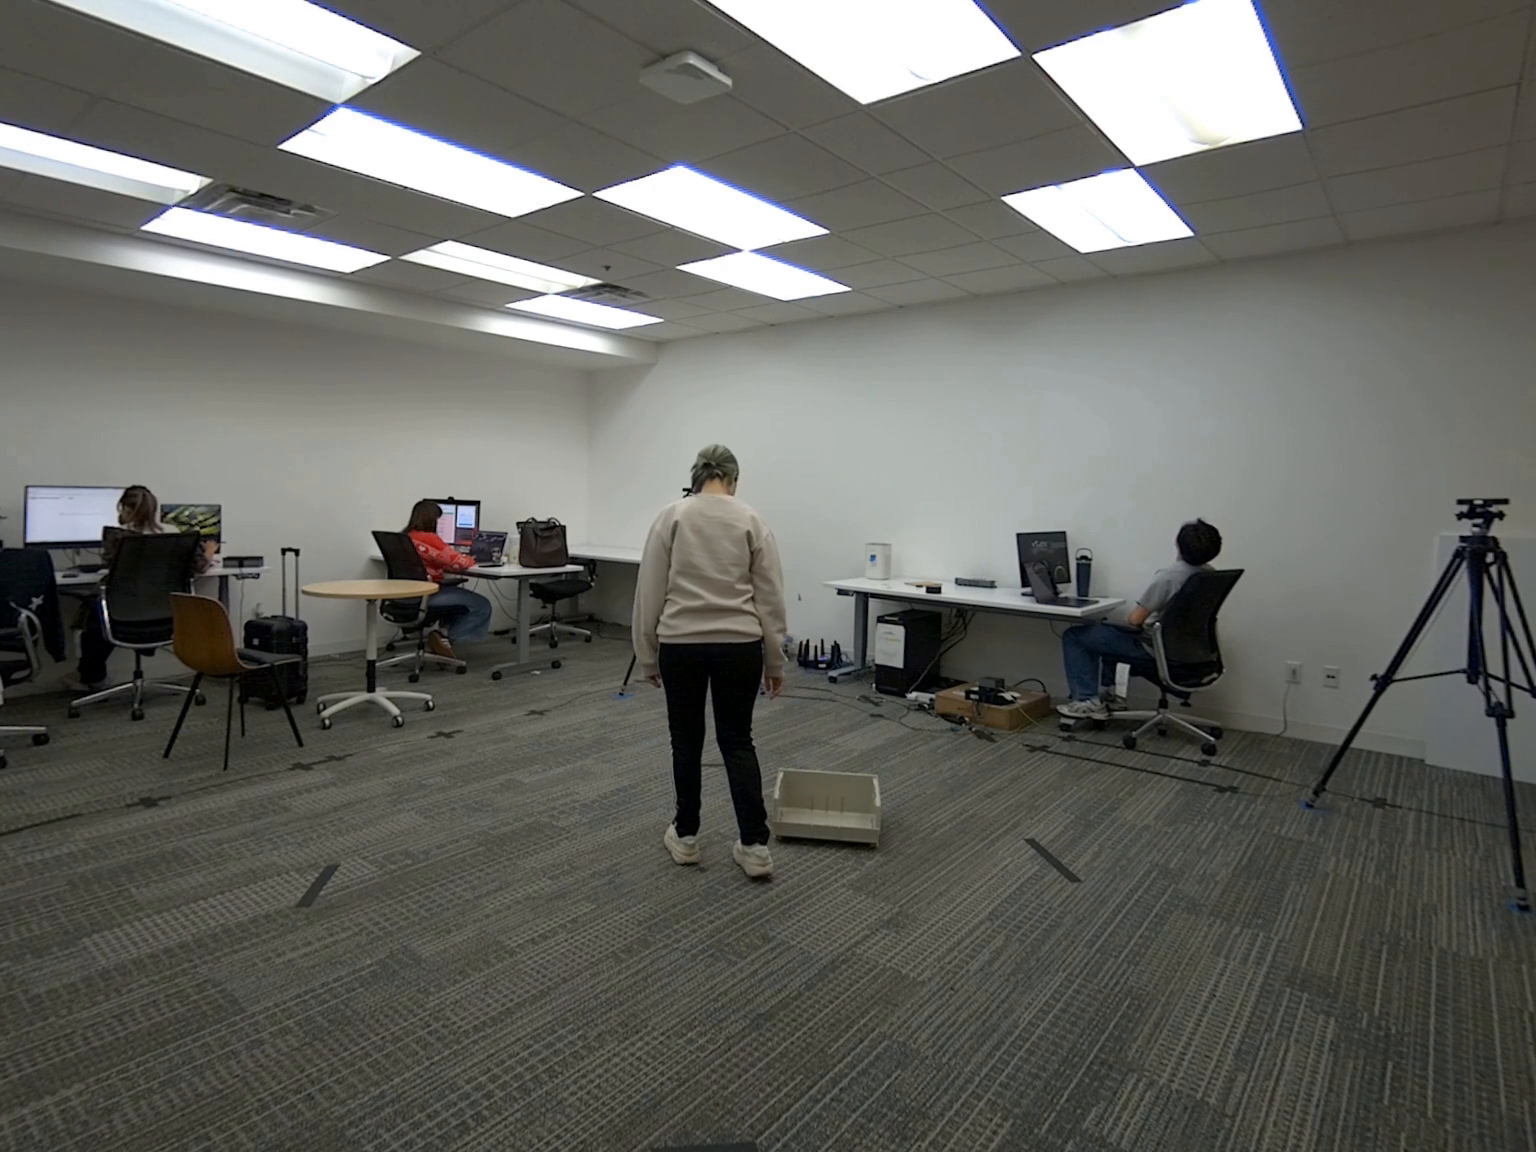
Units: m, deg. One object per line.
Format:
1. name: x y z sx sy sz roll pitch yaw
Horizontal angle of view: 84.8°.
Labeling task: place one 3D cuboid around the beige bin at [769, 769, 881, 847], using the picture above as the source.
1. beige bin: 0.236 0.953 3.505 0.426 0.188 0.376 1 4 6
